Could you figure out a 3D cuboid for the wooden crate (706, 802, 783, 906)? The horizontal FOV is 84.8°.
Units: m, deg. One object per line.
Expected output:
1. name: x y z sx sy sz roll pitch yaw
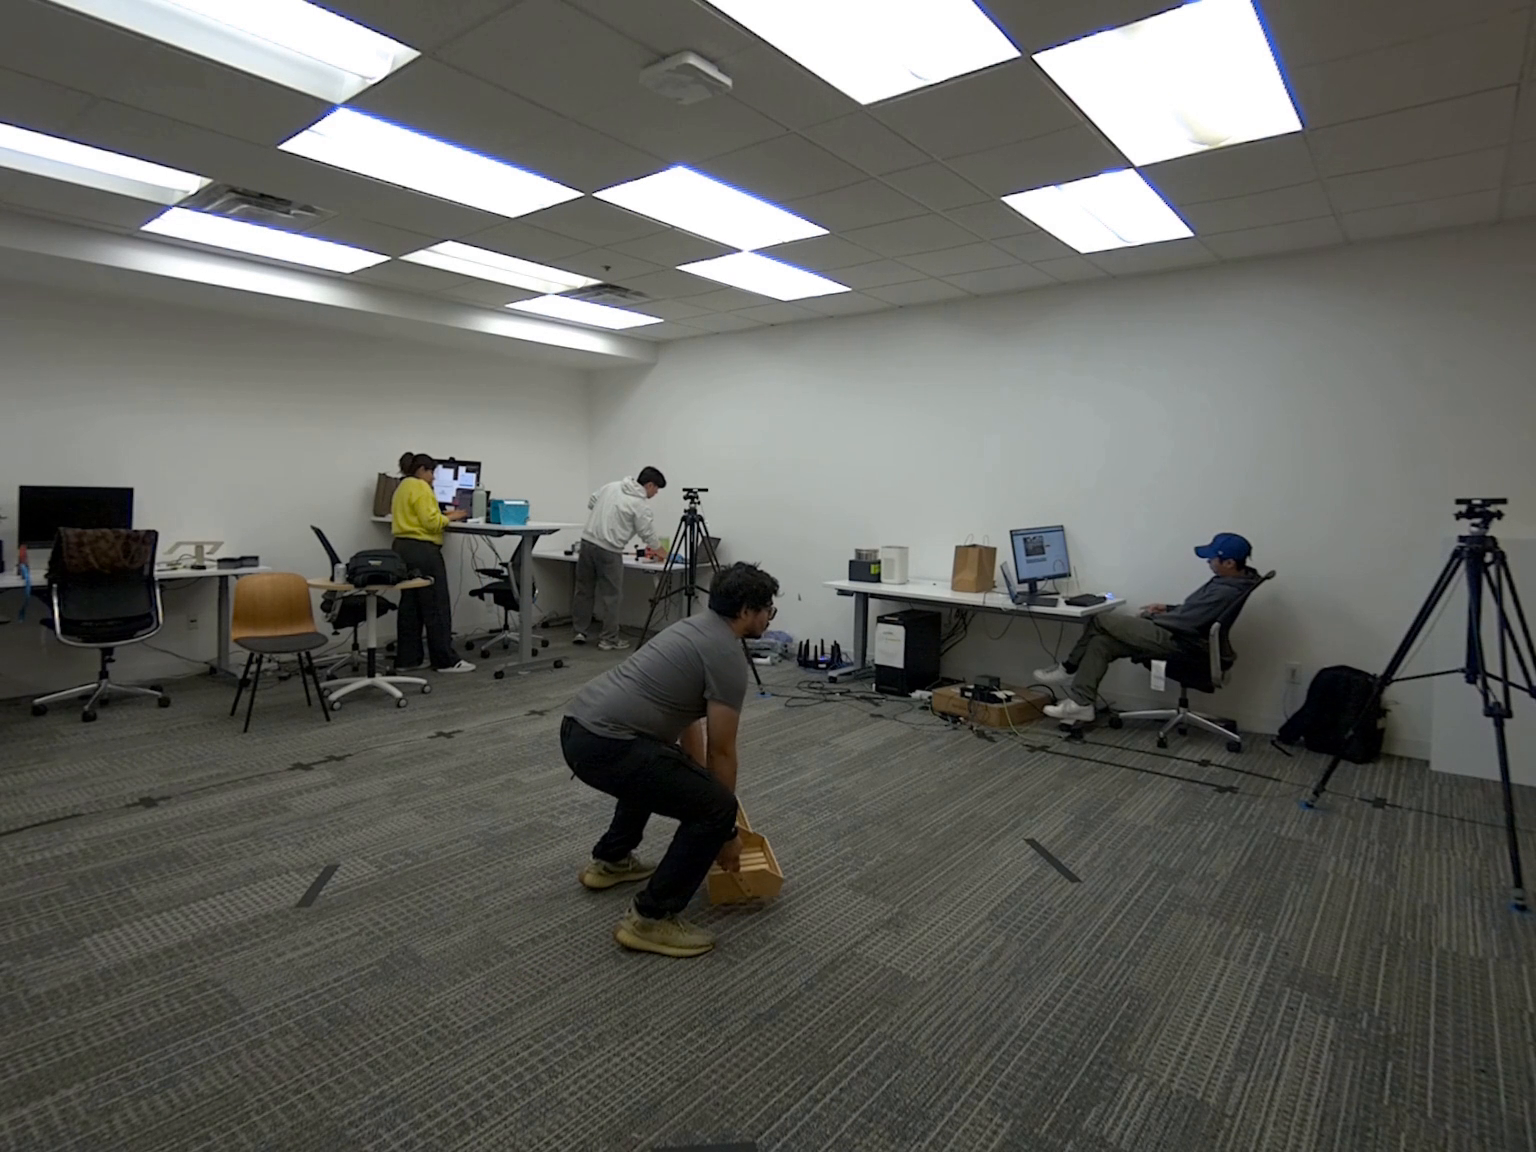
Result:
1. wooden crate: -0.128 0.910 2.896 0.300 0.272 0.328 -1 7 -5
